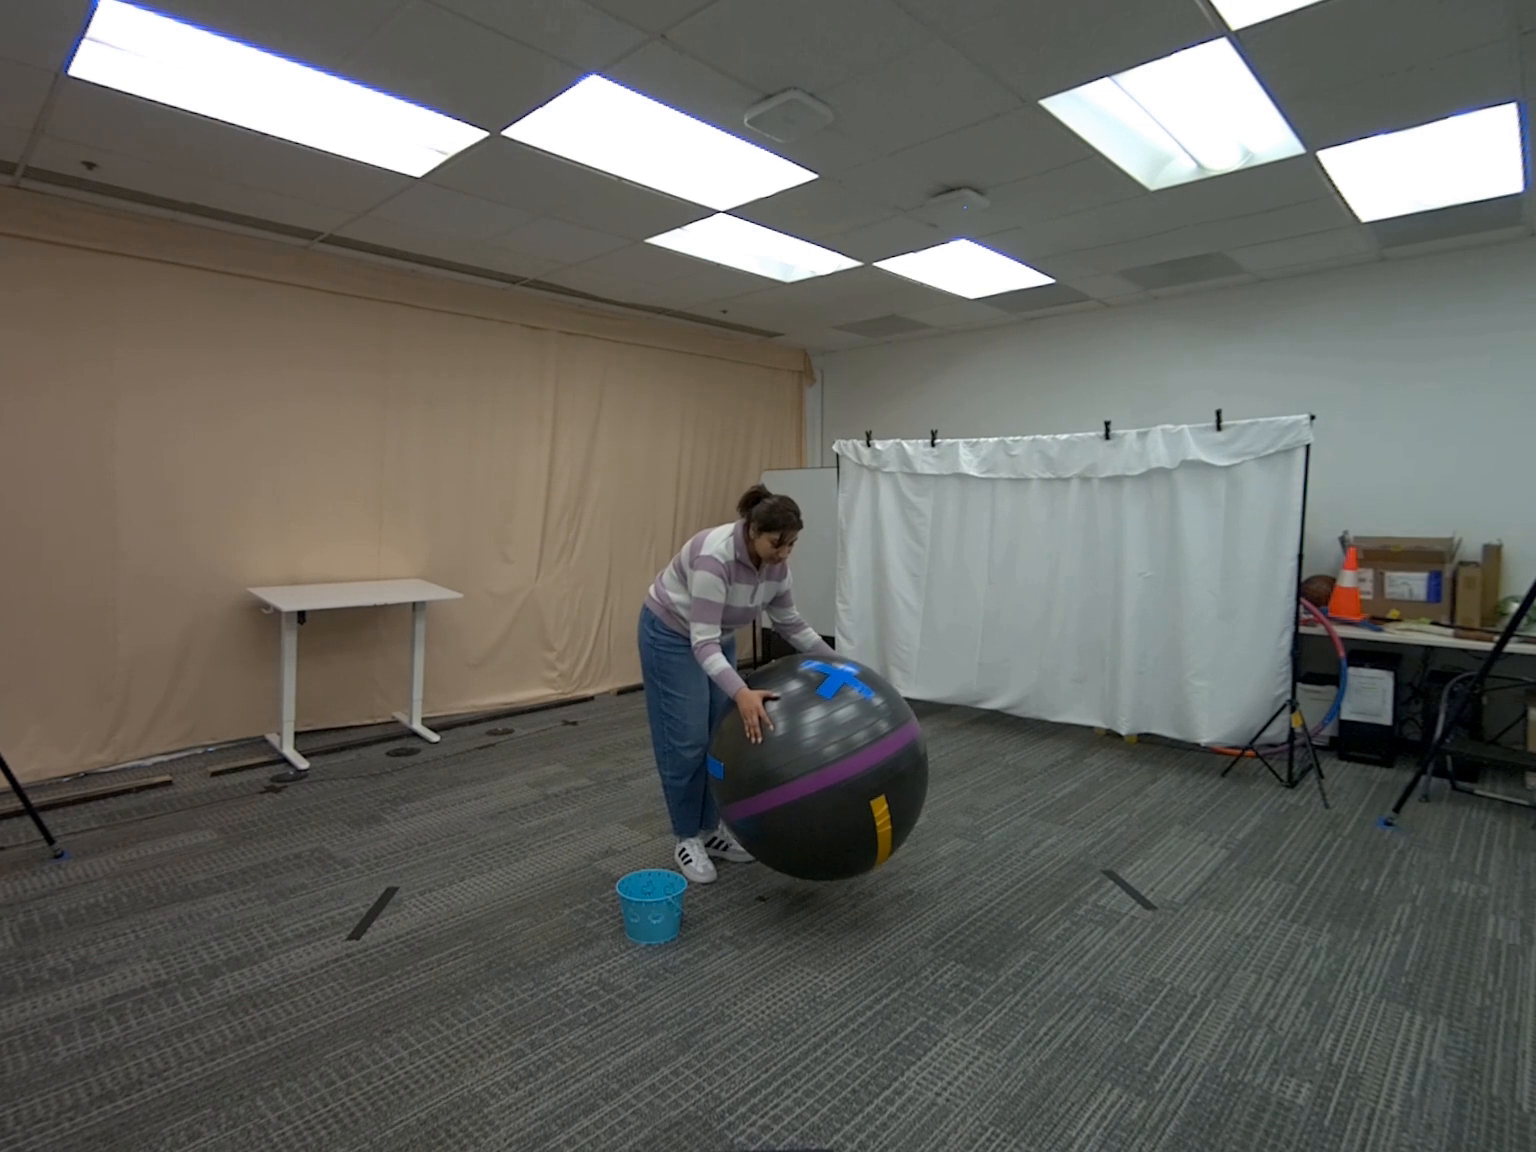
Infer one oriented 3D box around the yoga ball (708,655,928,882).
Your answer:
[{"bbox_3d":[0.168,0.659,2.910,0.757,0.756,0.760,0,4,-2],"label":"yoga ball"}]
